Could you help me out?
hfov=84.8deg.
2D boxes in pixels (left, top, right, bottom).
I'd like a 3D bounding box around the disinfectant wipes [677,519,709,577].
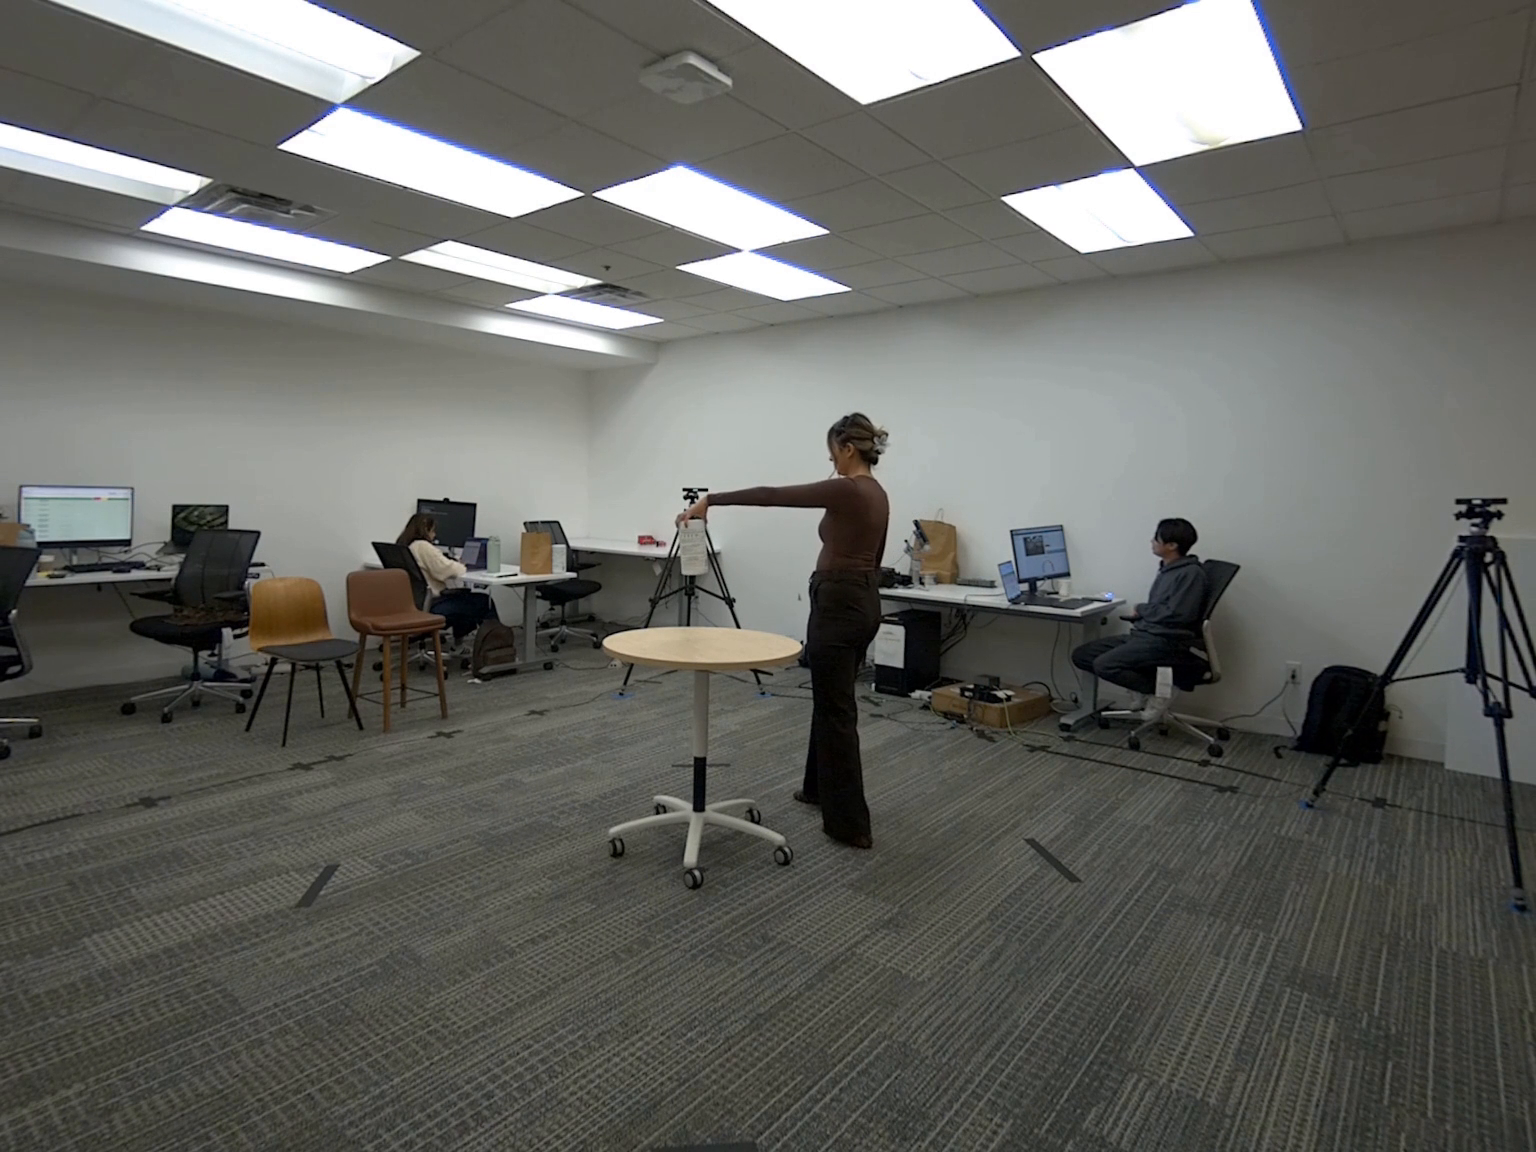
[{"bbox_3d":[-0.312,-0.121,3.454,0.118,0.216,0.118,-4,5,-1],"label":"disinfectant wipes"}]
